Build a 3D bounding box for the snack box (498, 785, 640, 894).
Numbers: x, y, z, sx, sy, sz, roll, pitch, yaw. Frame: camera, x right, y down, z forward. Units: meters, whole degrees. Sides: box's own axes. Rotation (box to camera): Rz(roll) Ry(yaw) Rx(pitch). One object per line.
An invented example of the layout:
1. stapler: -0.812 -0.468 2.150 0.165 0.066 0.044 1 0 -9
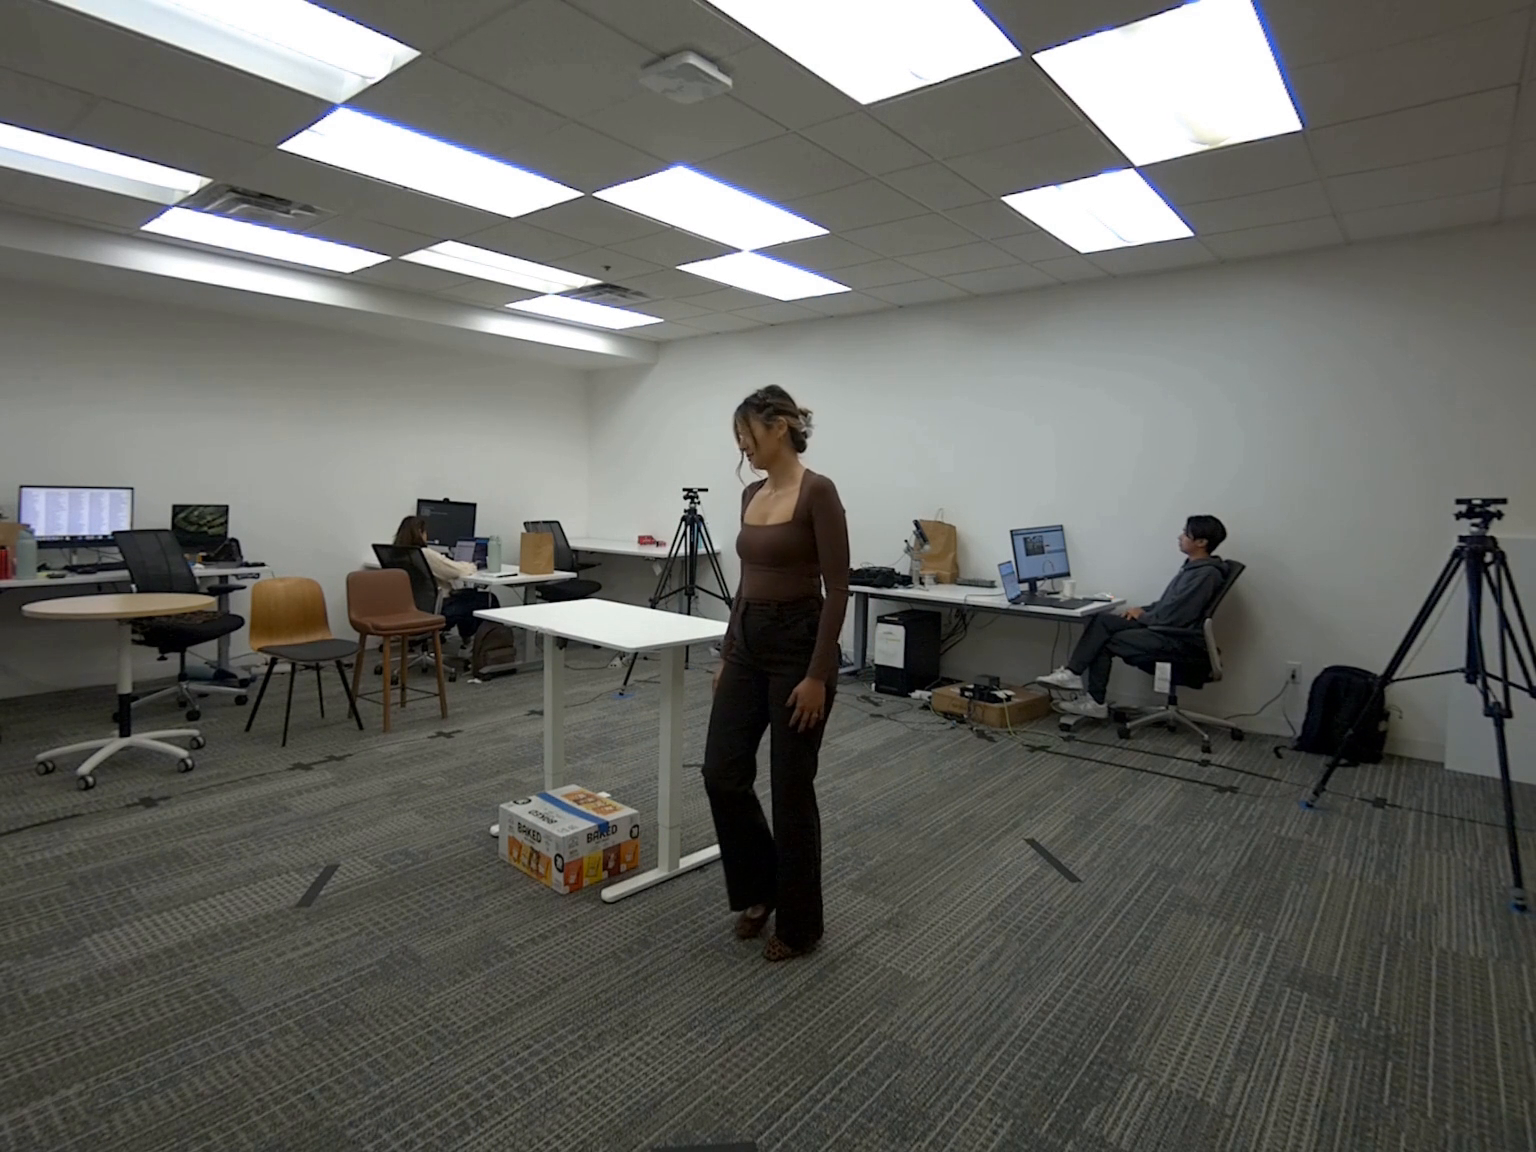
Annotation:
1. snack box: -0.747 0.957 3.135 0.419 0.205 0.330 5 6 42
